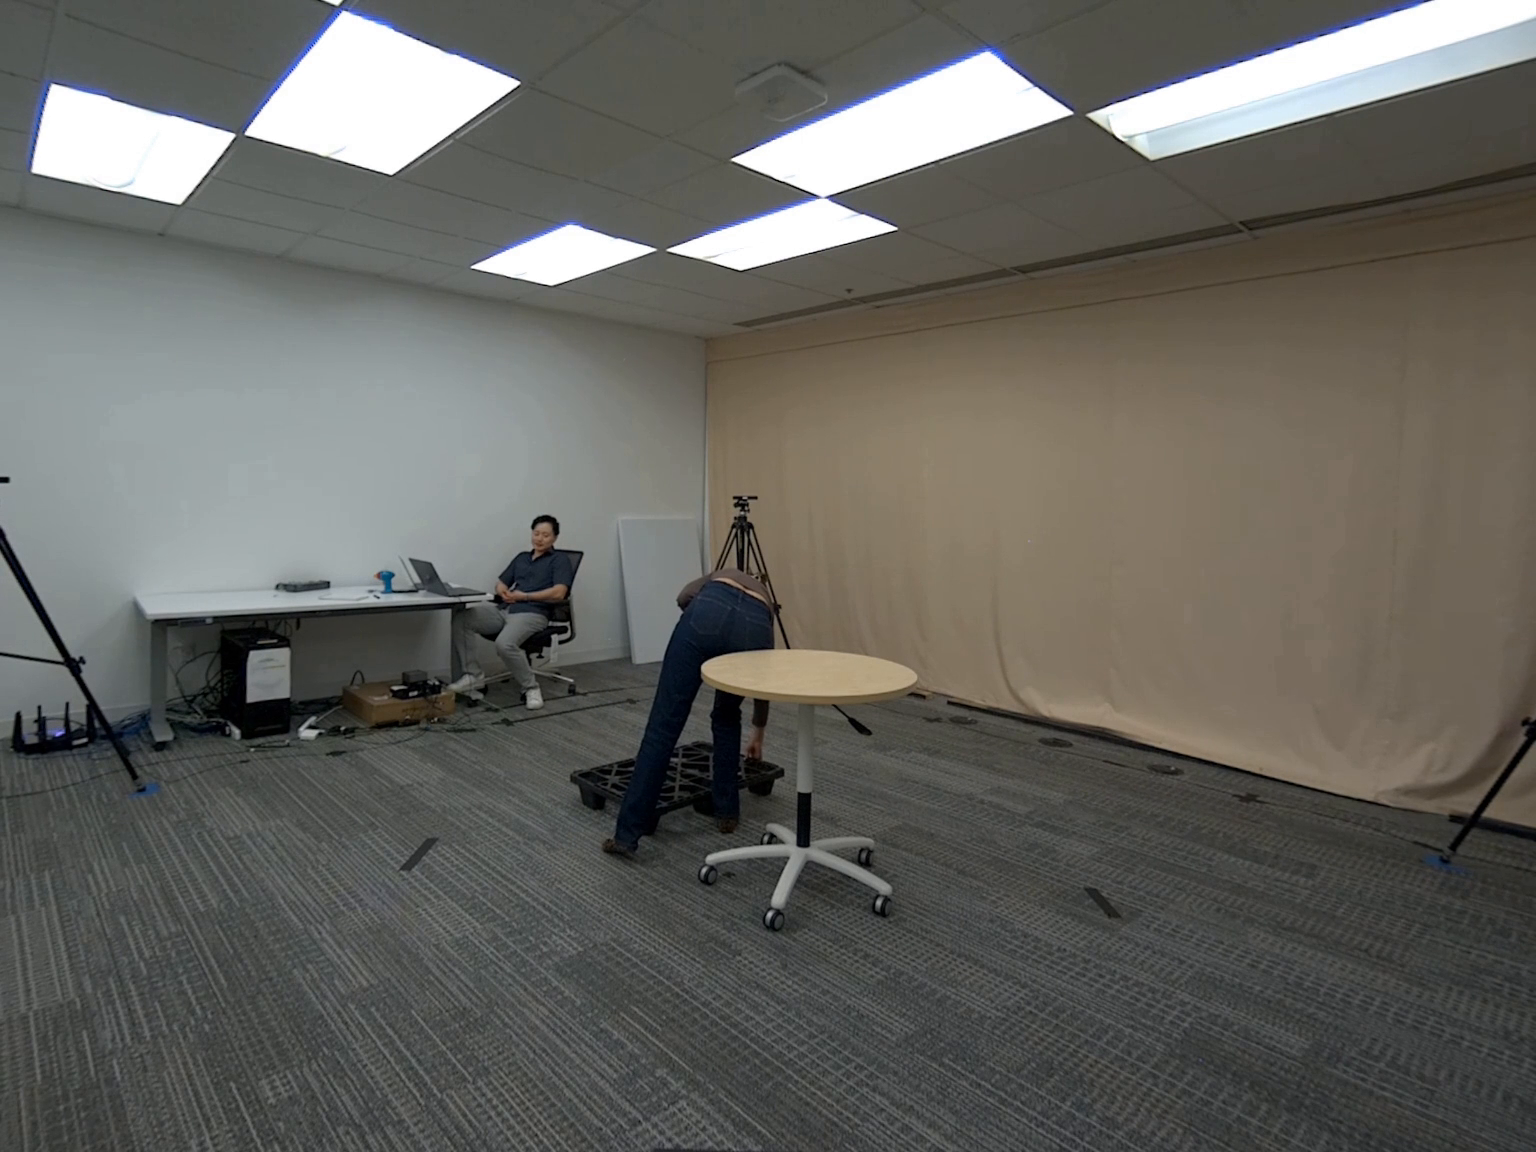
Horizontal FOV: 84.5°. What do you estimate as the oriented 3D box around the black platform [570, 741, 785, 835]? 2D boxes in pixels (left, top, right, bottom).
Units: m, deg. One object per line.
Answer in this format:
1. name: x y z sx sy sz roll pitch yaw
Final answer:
1. black platform: -0.413 0.960 3.858 0.788 0.143 0.621 -5 8 -44
